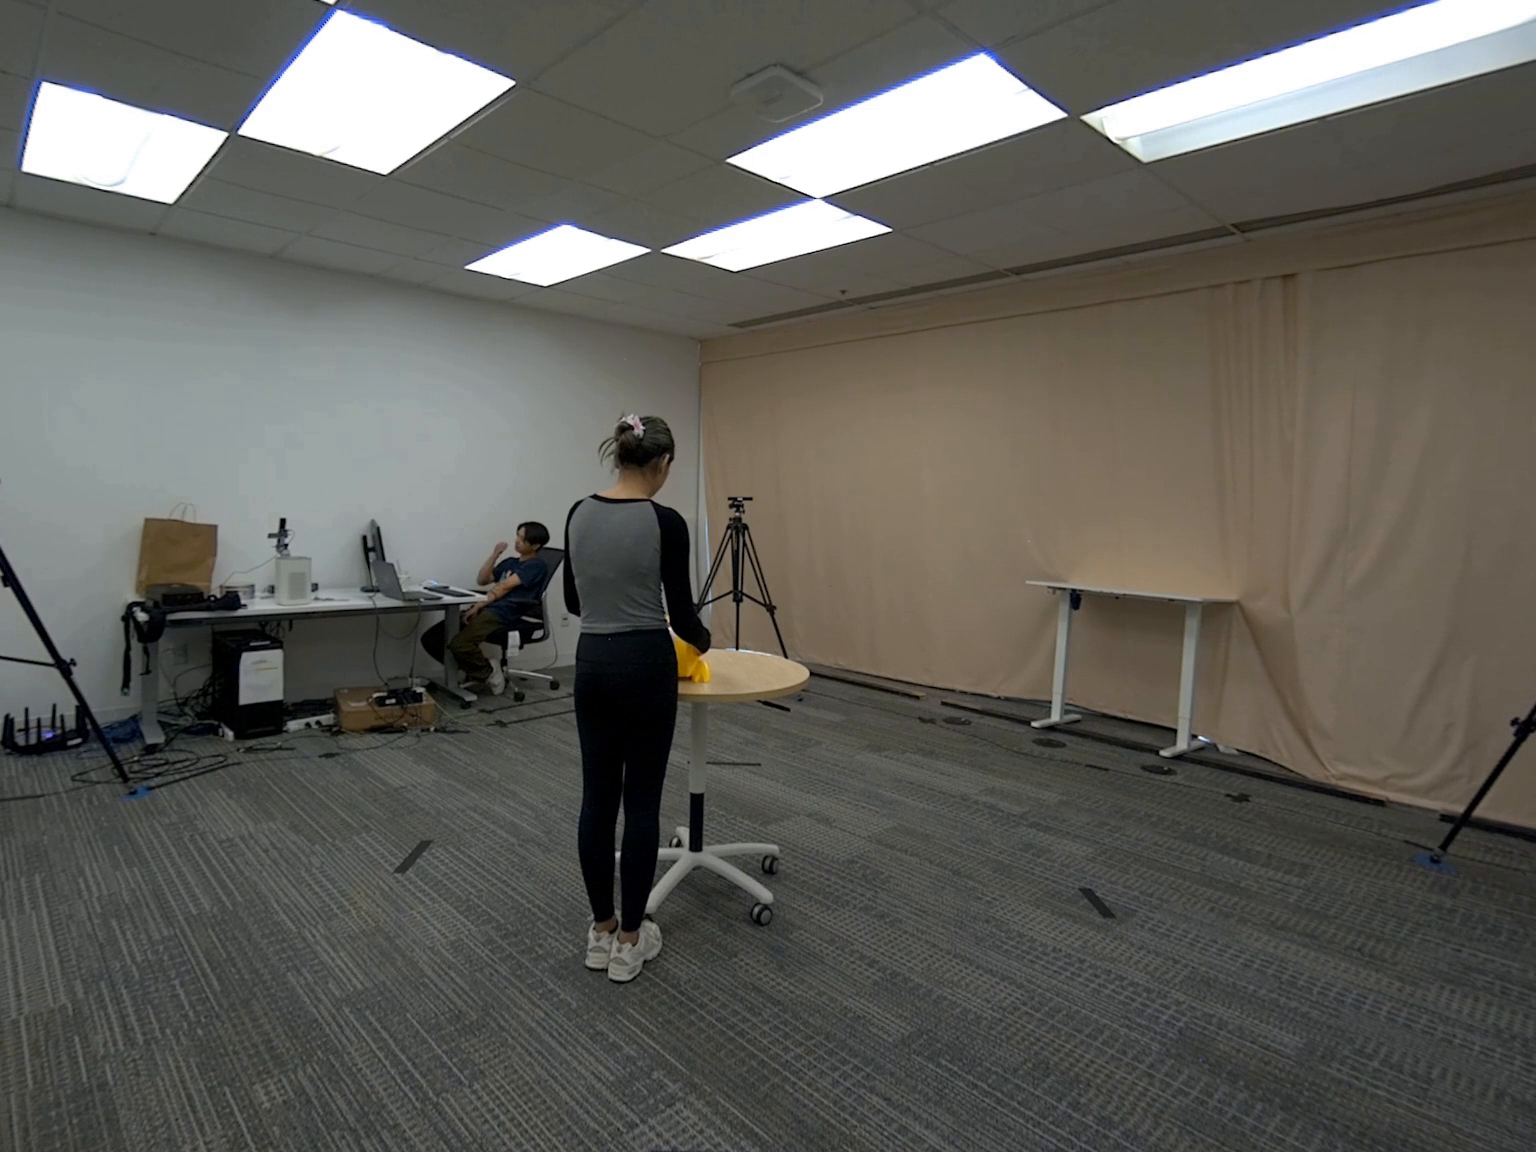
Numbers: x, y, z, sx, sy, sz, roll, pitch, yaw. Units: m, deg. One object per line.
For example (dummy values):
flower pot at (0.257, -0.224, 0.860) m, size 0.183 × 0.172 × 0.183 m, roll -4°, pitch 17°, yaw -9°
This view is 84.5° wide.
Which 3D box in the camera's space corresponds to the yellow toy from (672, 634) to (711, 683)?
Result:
yellow toy at (-0.296, 0.228, 2.788) m, size 0.201 × 0.230 × 0.197 m, roll 0°, pitch 5°, yaw -21°
